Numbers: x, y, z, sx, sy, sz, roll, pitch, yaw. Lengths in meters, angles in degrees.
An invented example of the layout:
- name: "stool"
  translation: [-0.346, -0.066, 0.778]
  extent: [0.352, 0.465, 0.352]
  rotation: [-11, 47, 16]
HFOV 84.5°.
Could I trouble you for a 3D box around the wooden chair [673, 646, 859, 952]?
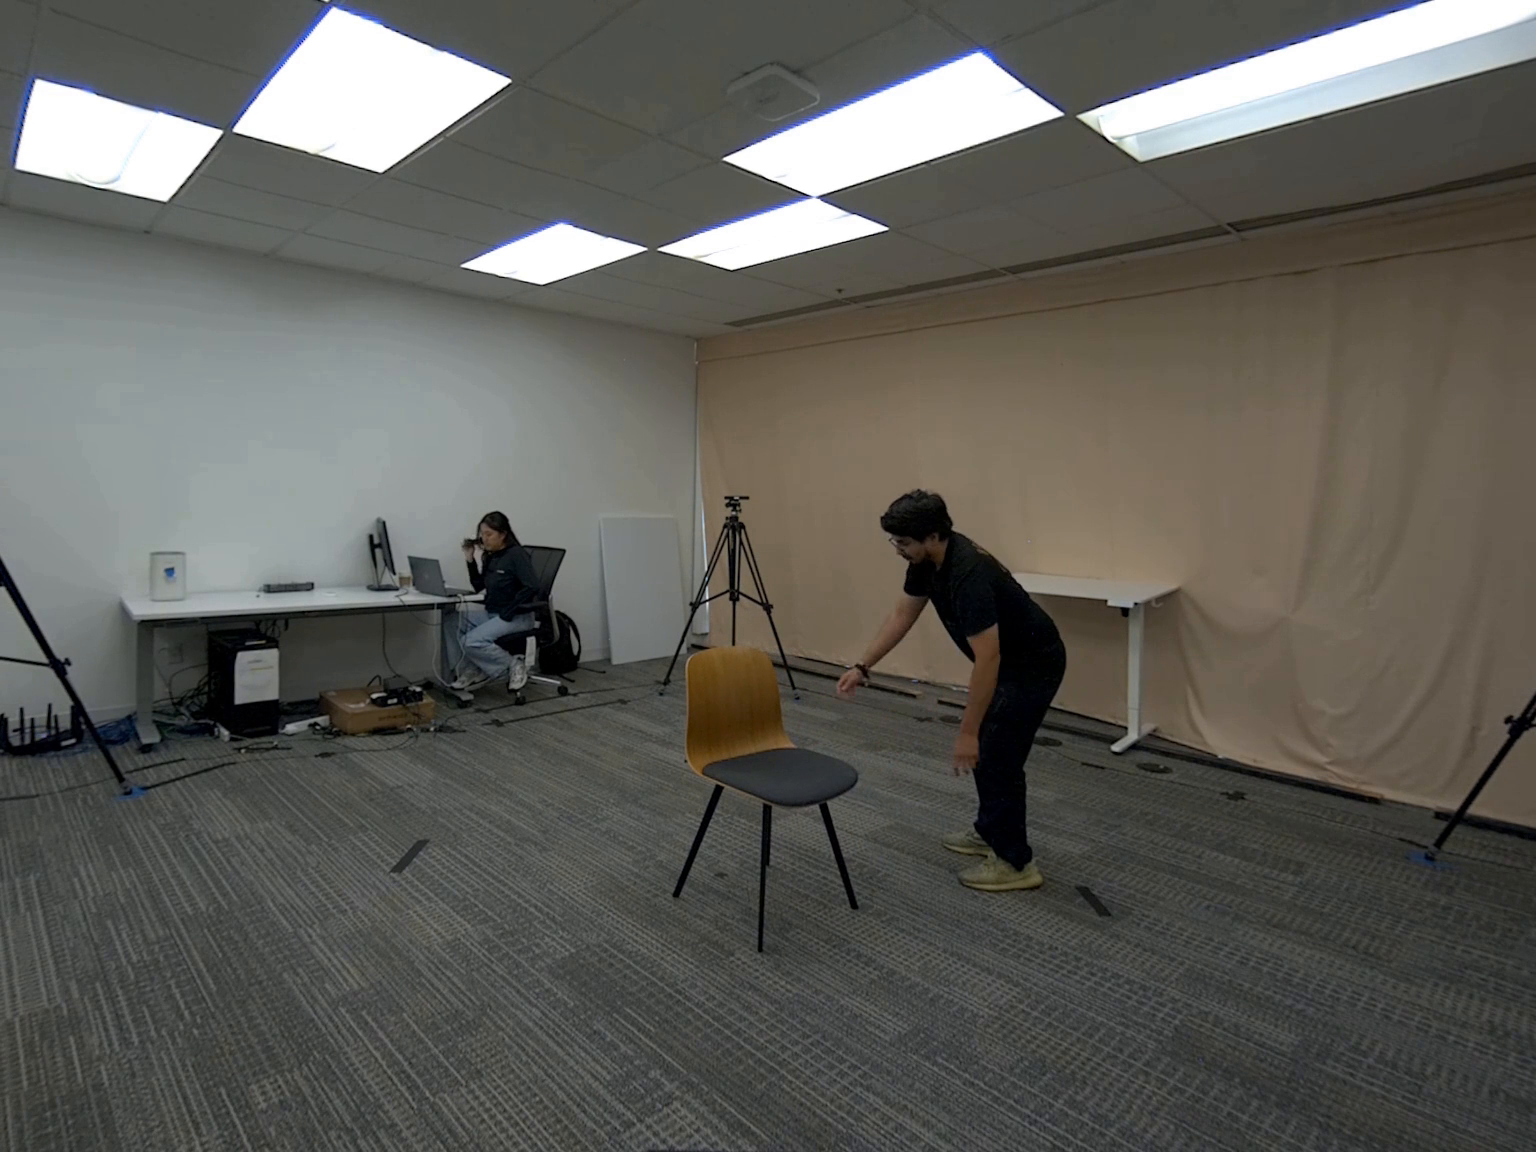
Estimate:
- name: "wooden chair"
  translation: [0.000, 0.705, 2.852]
  extent: [0.467, 0.878, 0.535]
  rotation: [-1, 0, -41]
